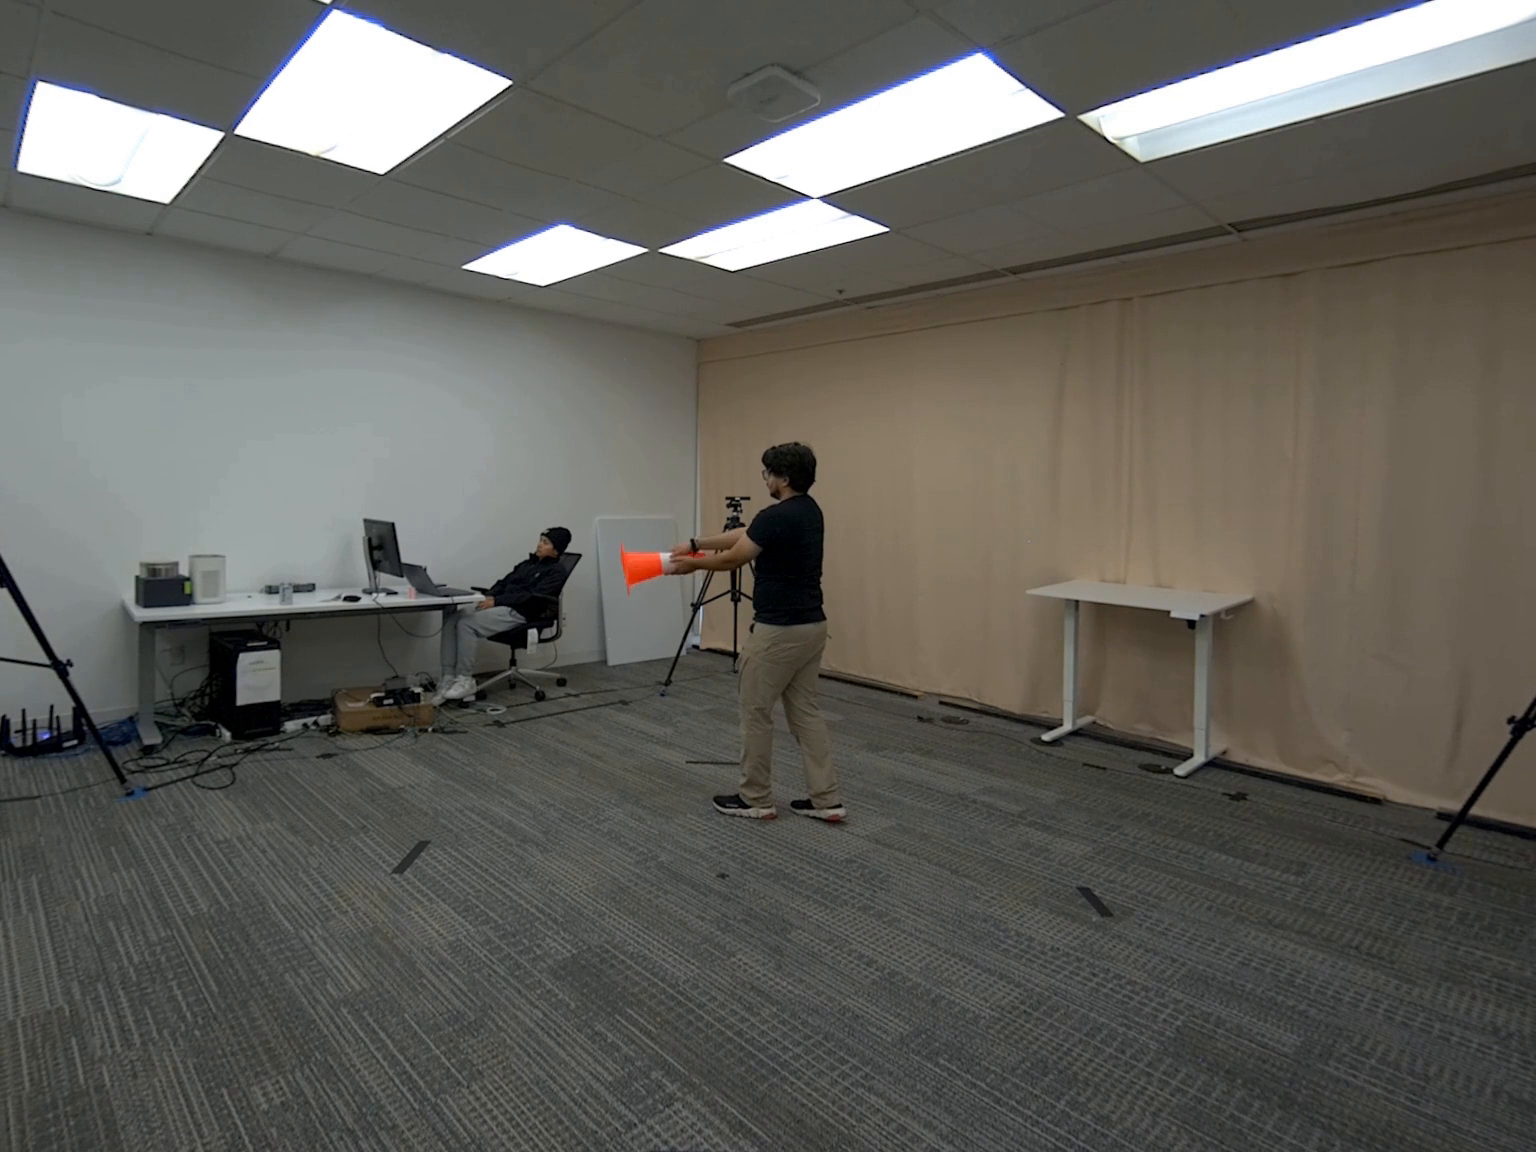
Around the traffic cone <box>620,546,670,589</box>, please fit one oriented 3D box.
[{"bbox_3d":[-0.473,-0.062,3.868,0.382,0.207,0.202,-9,-22,-5],"label":"traffic cone"}]
